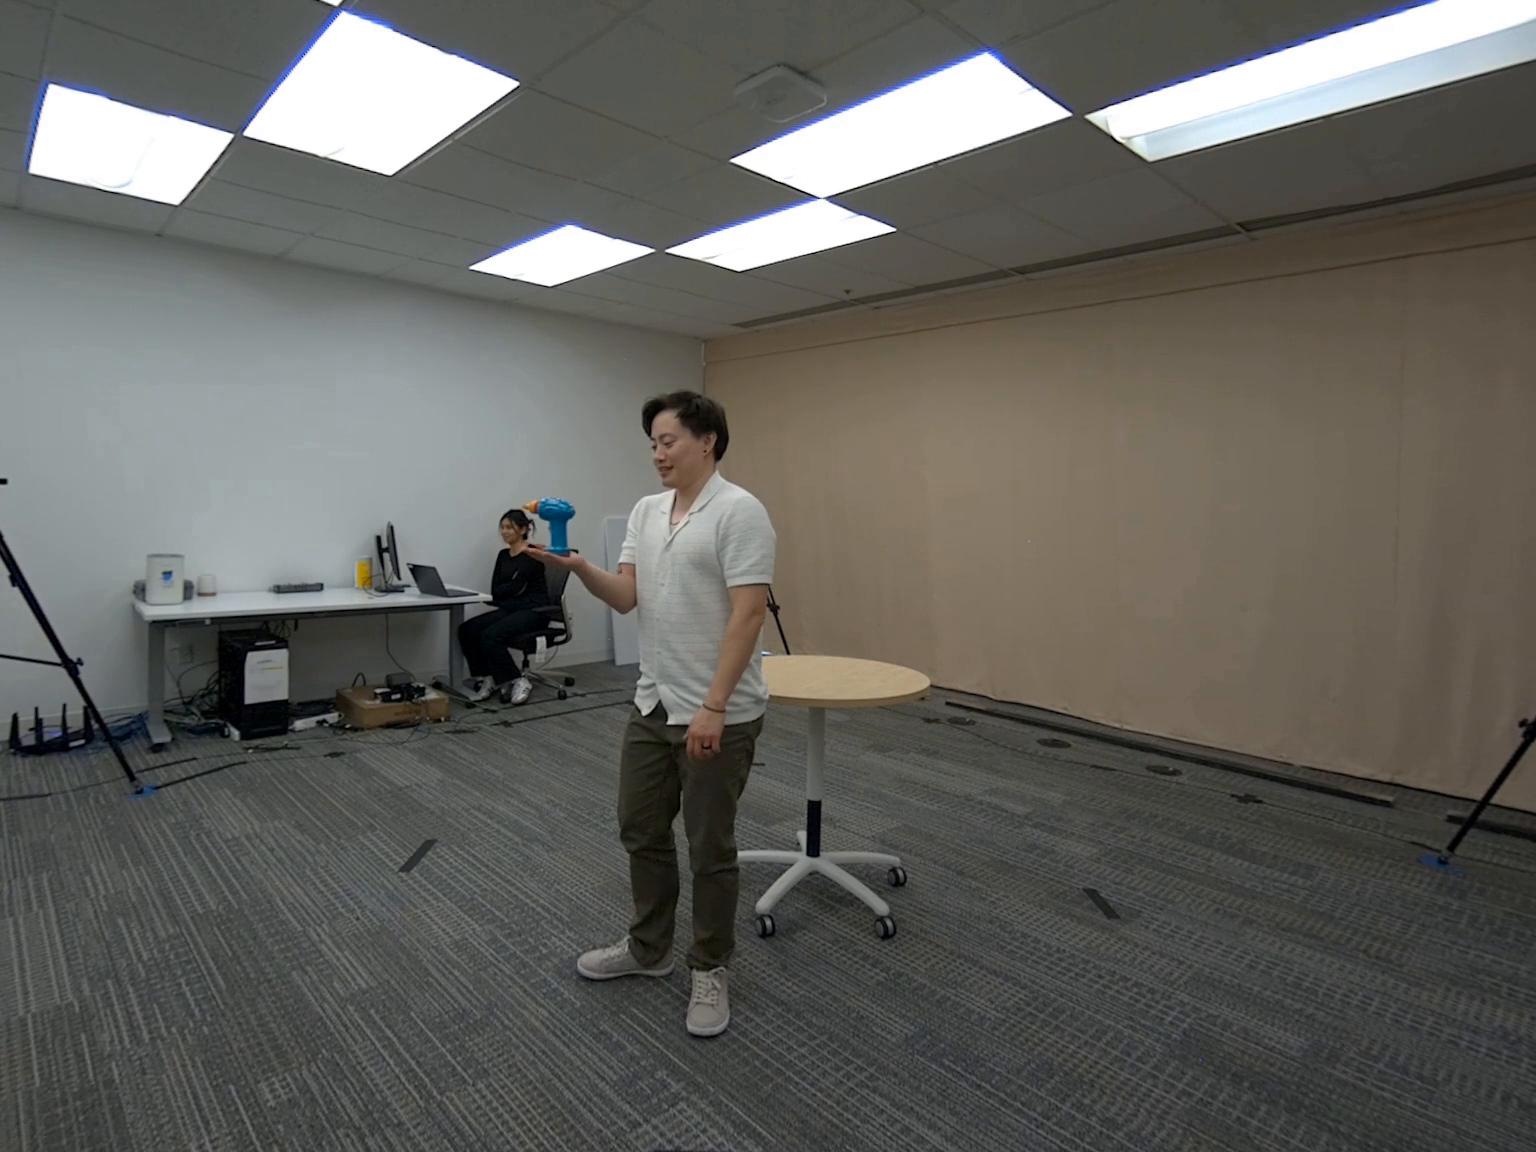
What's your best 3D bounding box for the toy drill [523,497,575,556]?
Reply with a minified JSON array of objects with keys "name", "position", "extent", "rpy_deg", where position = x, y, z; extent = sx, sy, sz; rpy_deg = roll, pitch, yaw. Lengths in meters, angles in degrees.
[{"name":"toy drill","position":[-0.558,-0.130,2.137],"extent":[0.173,0.145,0.060],"rpy_deg":[8,11,21]}]
